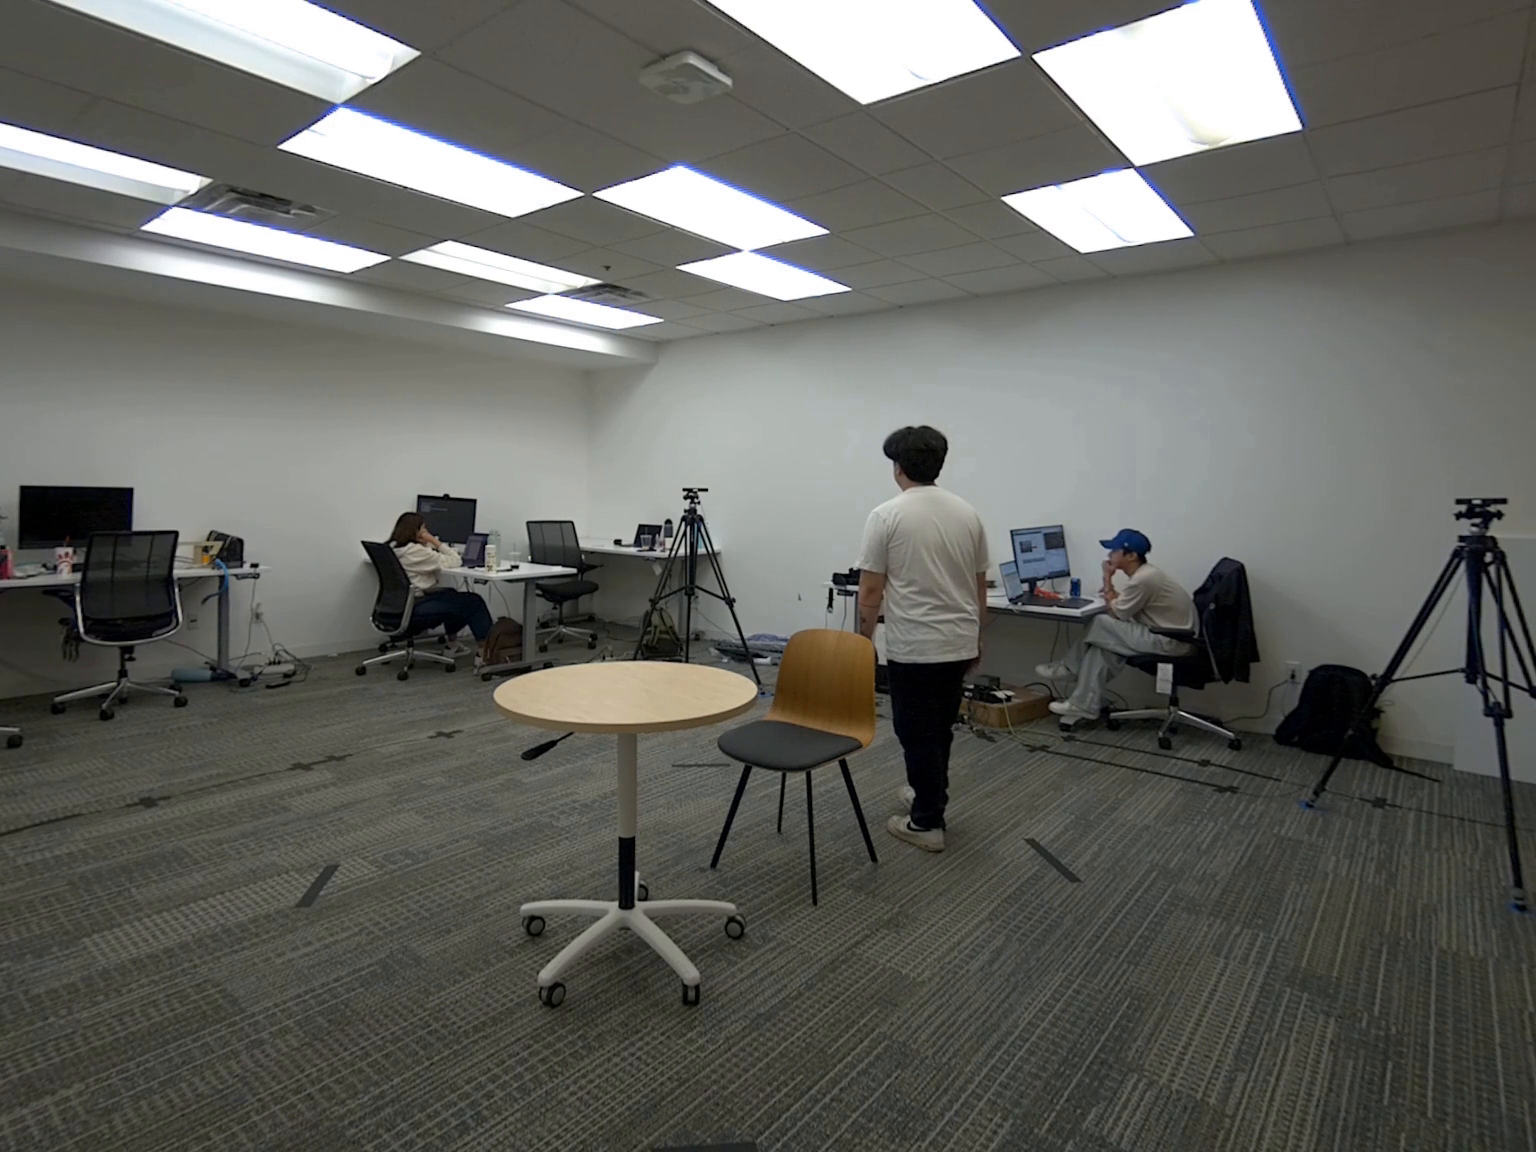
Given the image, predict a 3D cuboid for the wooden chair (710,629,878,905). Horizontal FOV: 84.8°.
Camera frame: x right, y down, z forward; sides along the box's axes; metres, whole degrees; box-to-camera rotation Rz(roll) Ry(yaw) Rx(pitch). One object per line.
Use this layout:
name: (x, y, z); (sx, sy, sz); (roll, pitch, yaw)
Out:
wooden chair: (0.099, 0.644, 3.128); (0.494, 0.878, 0.506); (4, 0, 36)
